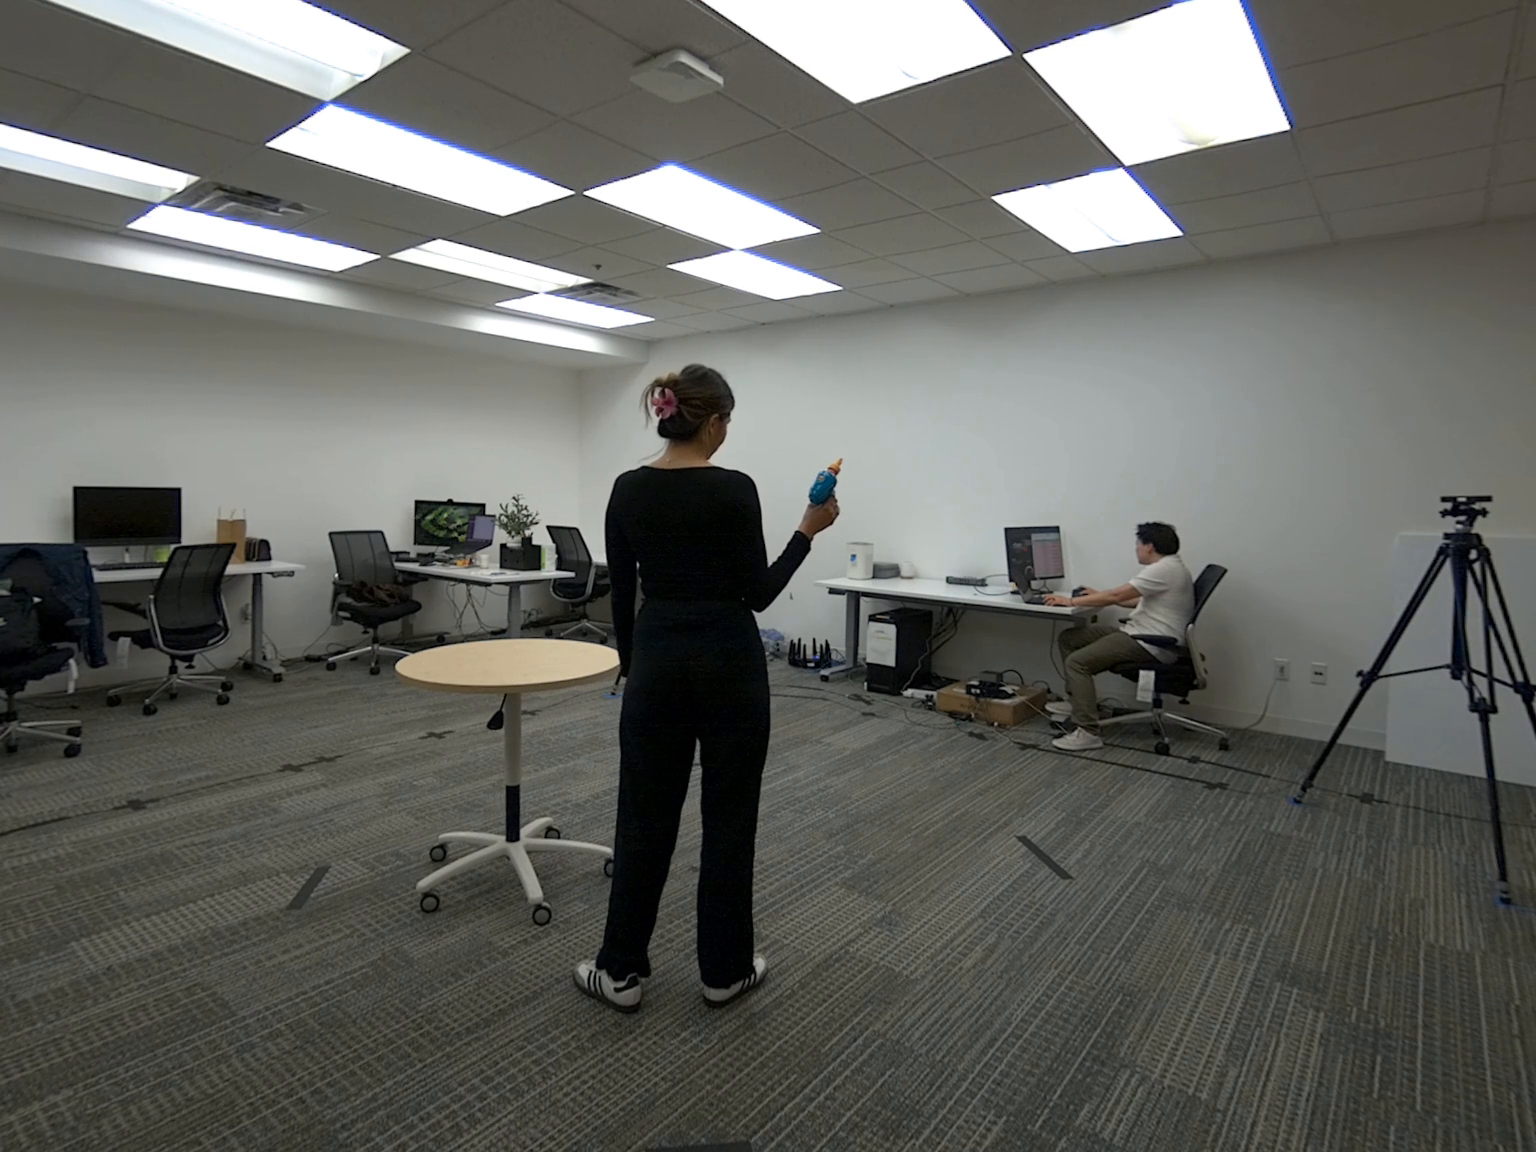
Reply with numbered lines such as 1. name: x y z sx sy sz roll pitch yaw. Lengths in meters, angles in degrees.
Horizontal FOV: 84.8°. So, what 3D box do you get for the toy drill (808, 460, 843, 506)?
1. toy drill: 0.163 -0.243 2.381 0.063 0.171 0.140 15 -30 30
